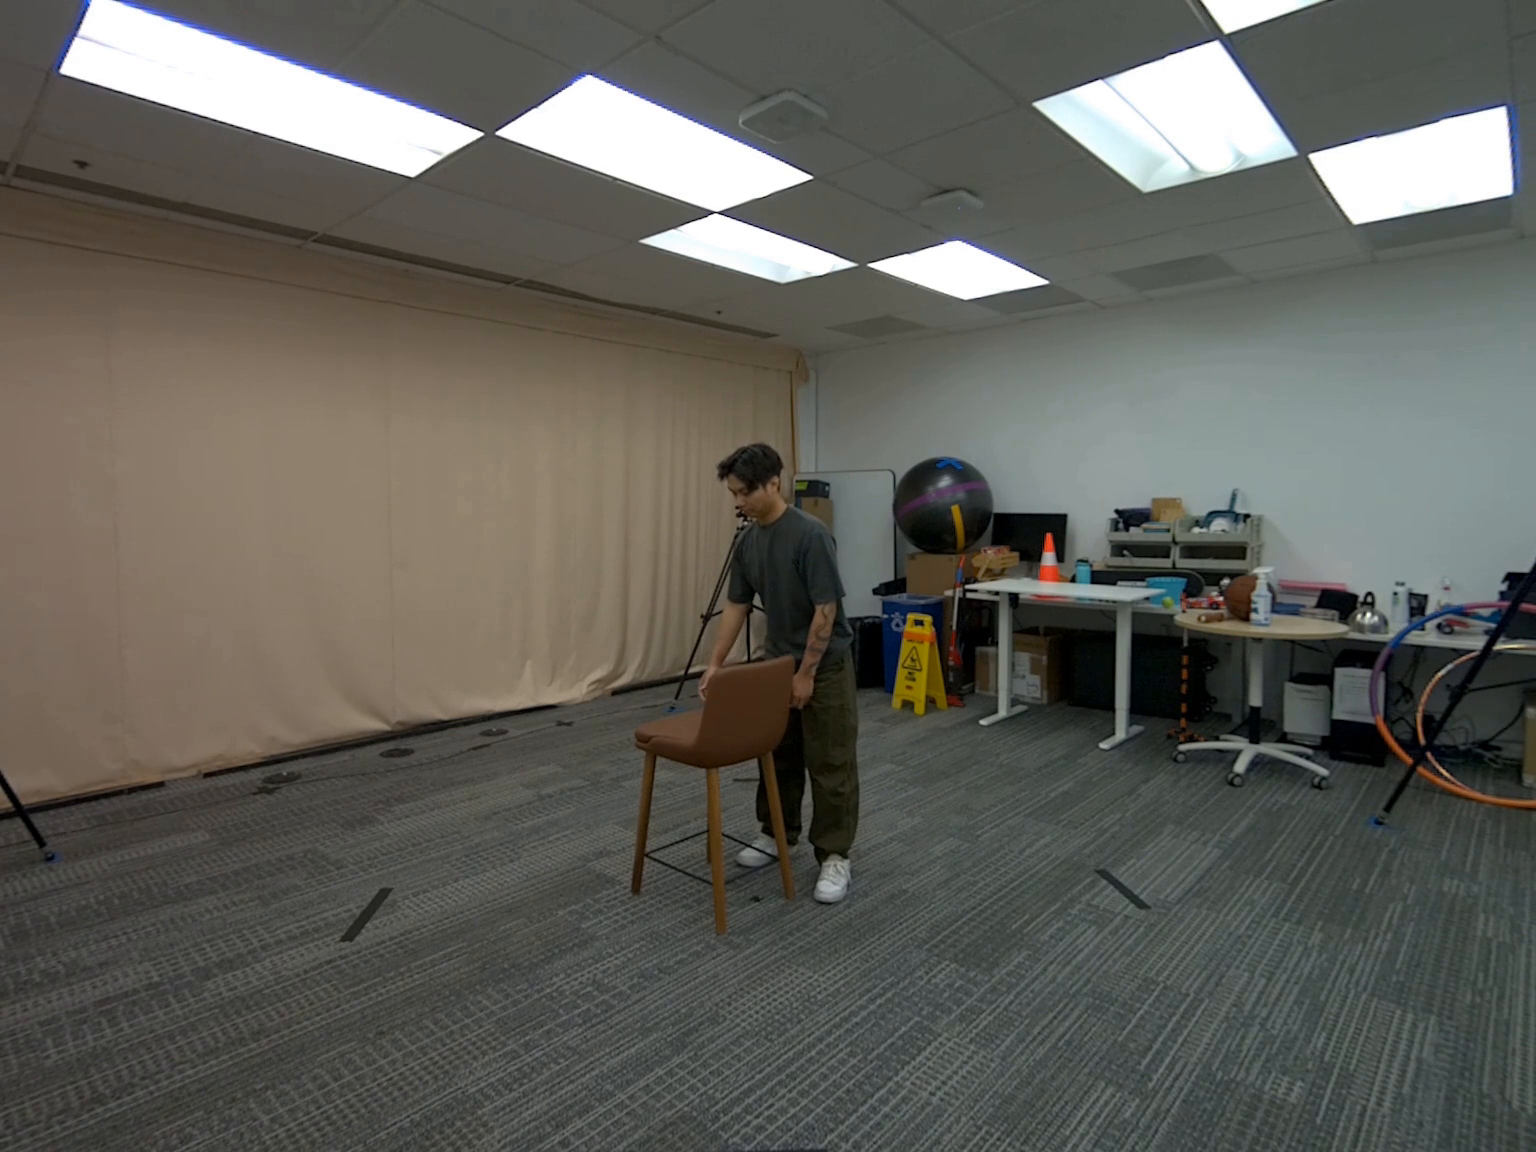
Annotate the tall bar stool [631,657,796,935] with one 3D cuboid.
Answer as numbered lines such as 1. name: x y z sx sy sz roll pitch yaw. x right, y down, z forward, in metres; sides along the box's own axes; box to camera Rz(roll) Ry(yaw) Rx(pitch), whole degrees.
1. tall bar stool: -0.194 0.707 2.990 0.483 0.887 0.442 4 5 43
